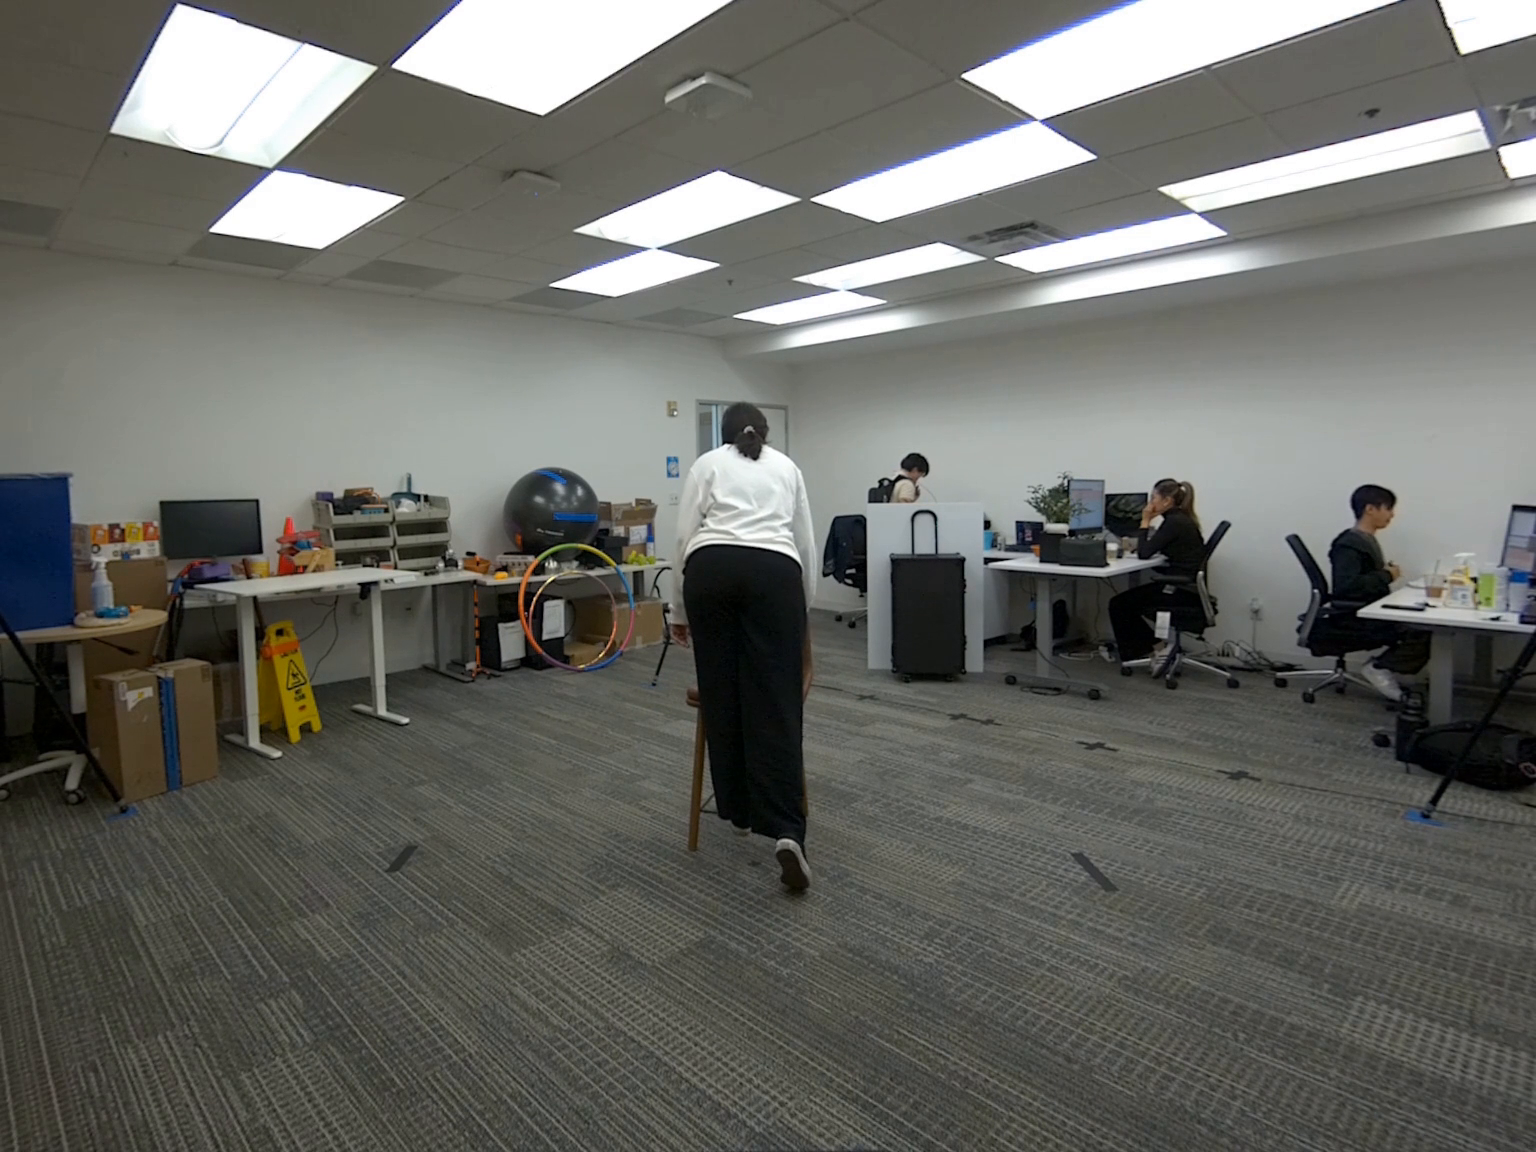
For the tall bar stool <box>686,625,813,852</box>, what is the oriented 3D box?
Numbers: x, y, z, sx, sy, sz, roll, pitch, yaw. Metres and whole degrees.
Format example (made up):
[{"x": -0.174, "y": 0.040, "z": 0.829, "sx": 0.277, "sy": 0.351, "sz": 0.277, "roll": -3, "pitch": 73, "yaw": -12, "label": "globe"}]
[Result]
[{"x": -0.055, "y": 0.582, "z": 3.377, "sx": 0.463, "sy": 0.888, "sz": 0.462, "roll": 0, "pitch": 2, "yaw": 14, "label": "tall bar stool"}]
